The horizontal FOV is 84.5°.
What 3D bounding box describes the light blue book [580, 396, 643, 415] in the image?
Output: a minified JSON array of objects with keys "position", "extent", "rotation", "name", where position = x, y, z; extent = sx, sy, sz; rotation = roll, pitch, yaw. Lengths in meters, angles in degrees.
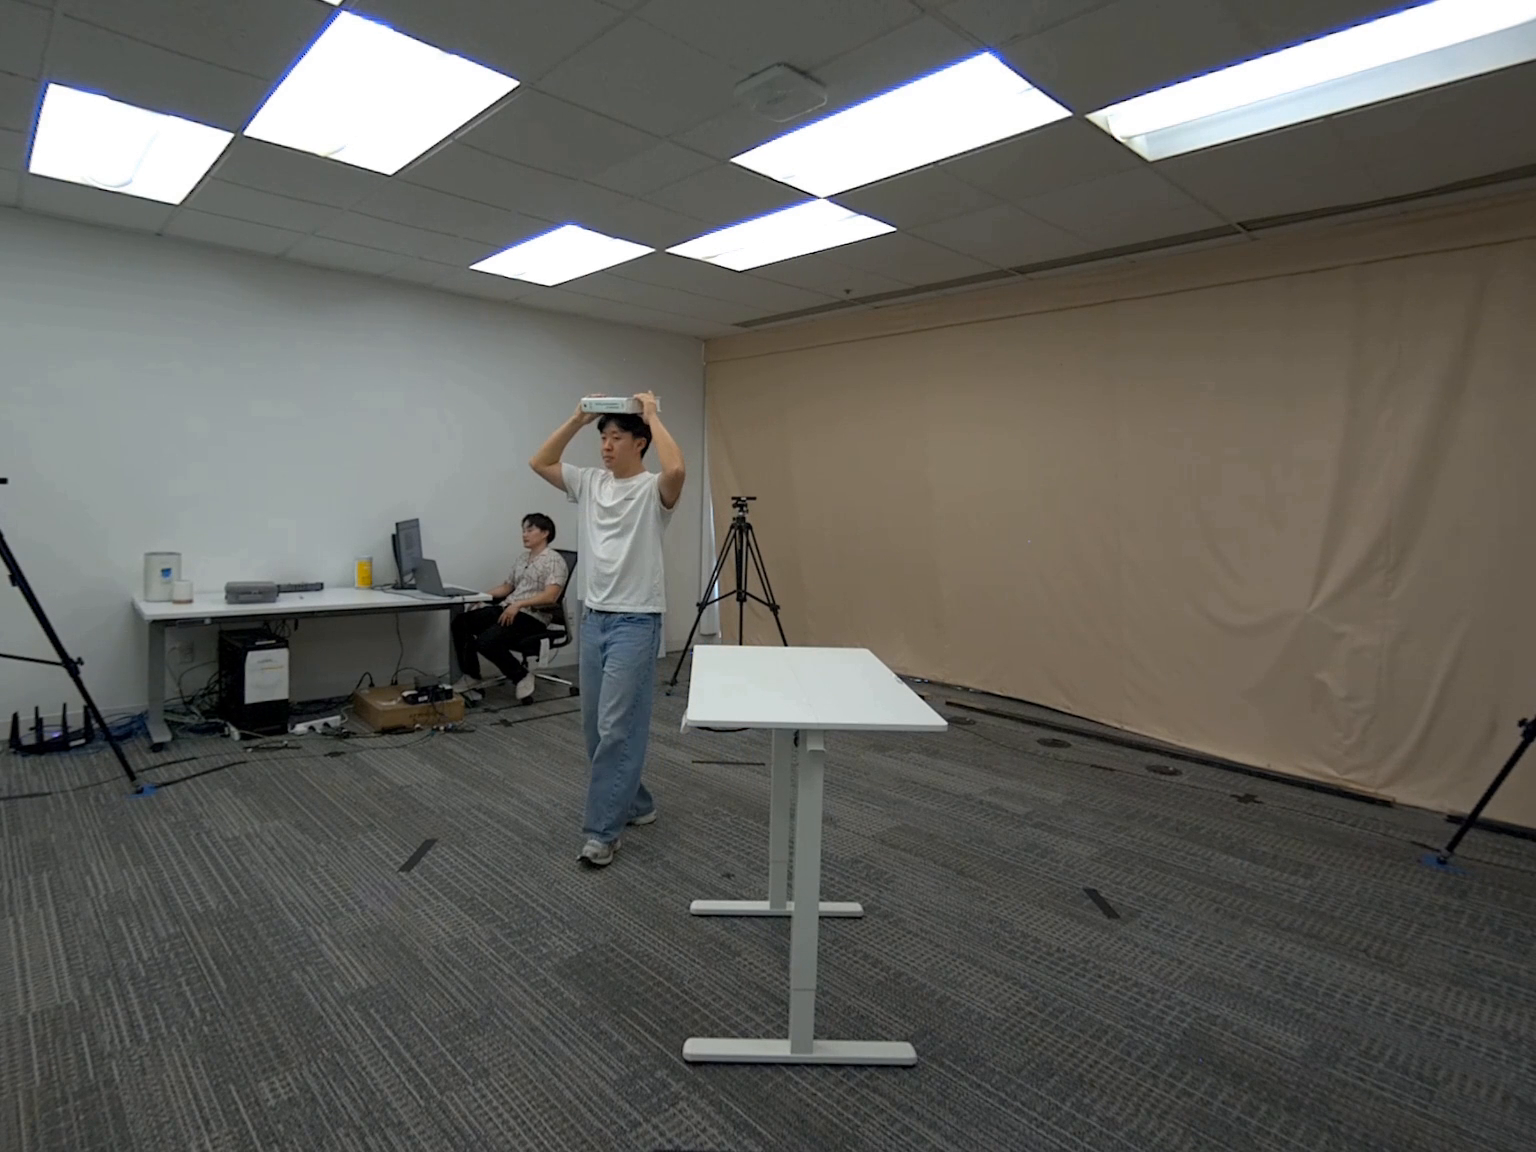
[{"position":[-0.589,-0.678,3.346],"extent":[0.267,0.058,0.188],"rotation":[9,17,34],"name":"light blue book"}]
